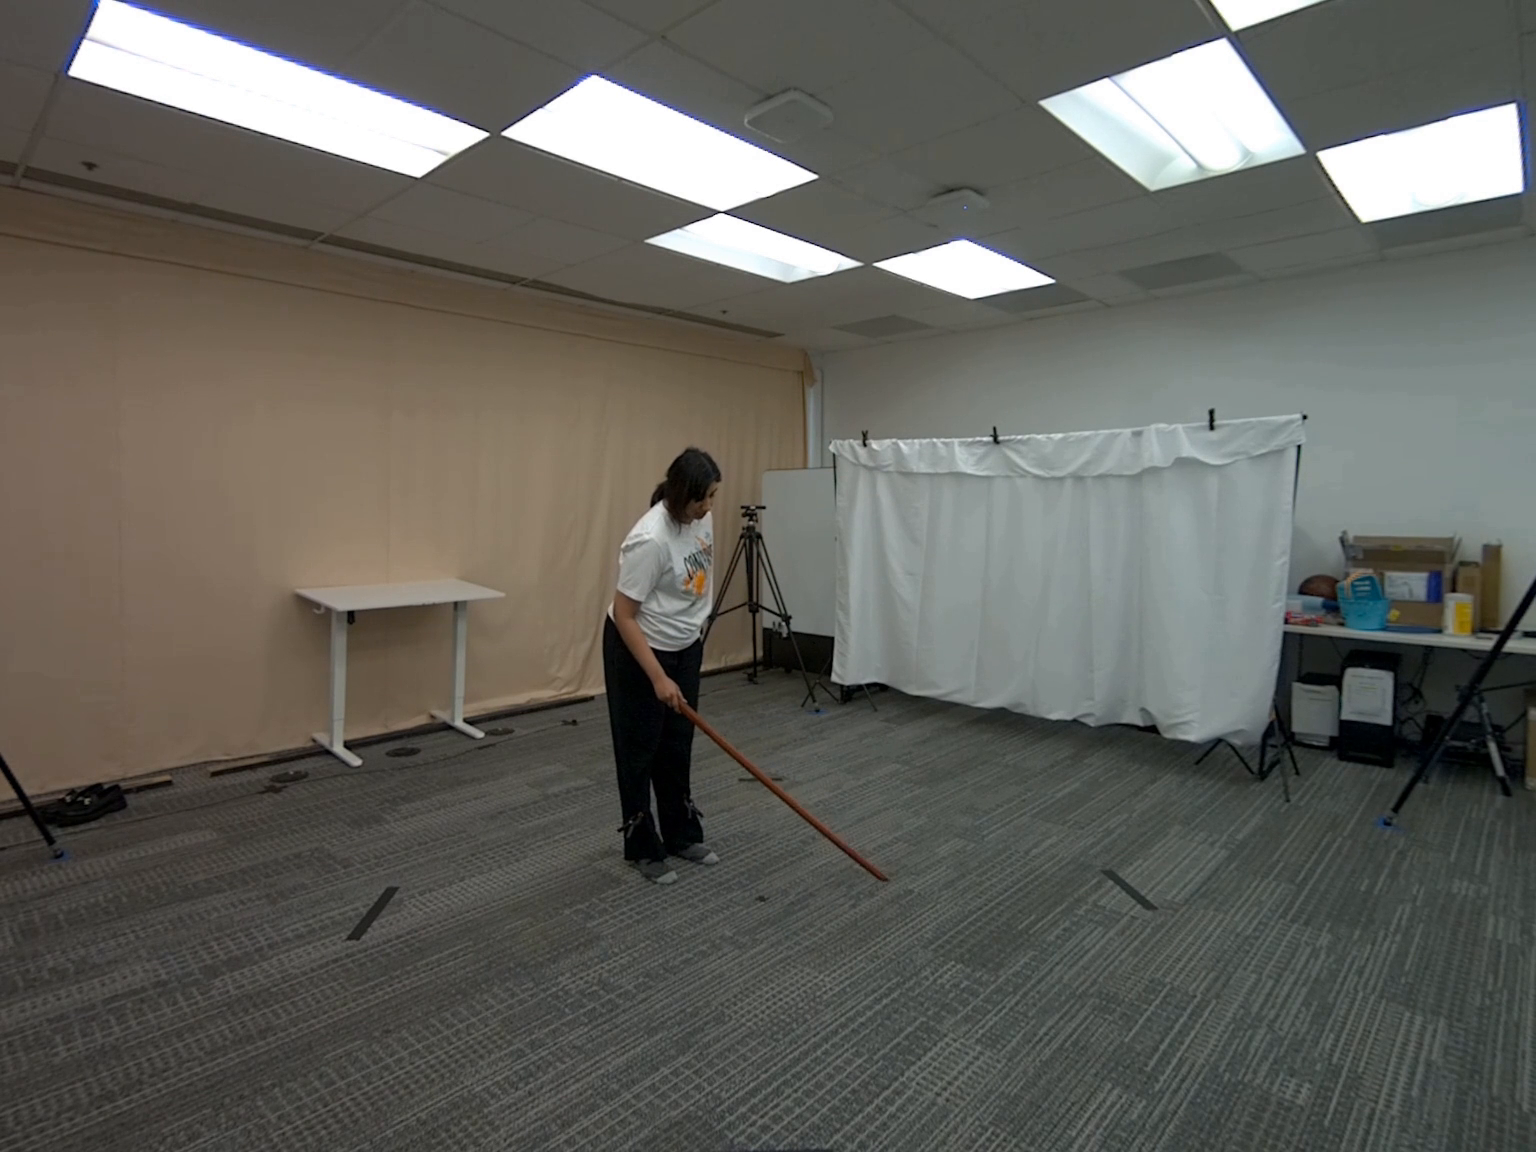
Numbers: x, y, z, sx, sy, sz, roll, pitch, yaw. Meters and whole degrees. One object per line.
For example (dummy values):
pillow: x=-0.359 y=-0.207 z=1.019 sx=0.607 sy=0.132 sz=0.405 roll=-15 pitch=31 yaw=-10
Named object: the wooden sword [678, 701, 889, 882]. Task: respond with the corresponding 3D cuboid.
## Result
wooden sword: x=0.006 y=0.666 z=2.759 sx=1.059 sy=0.051 sz=0.023 roll=34 pitch=32 yaw=31
